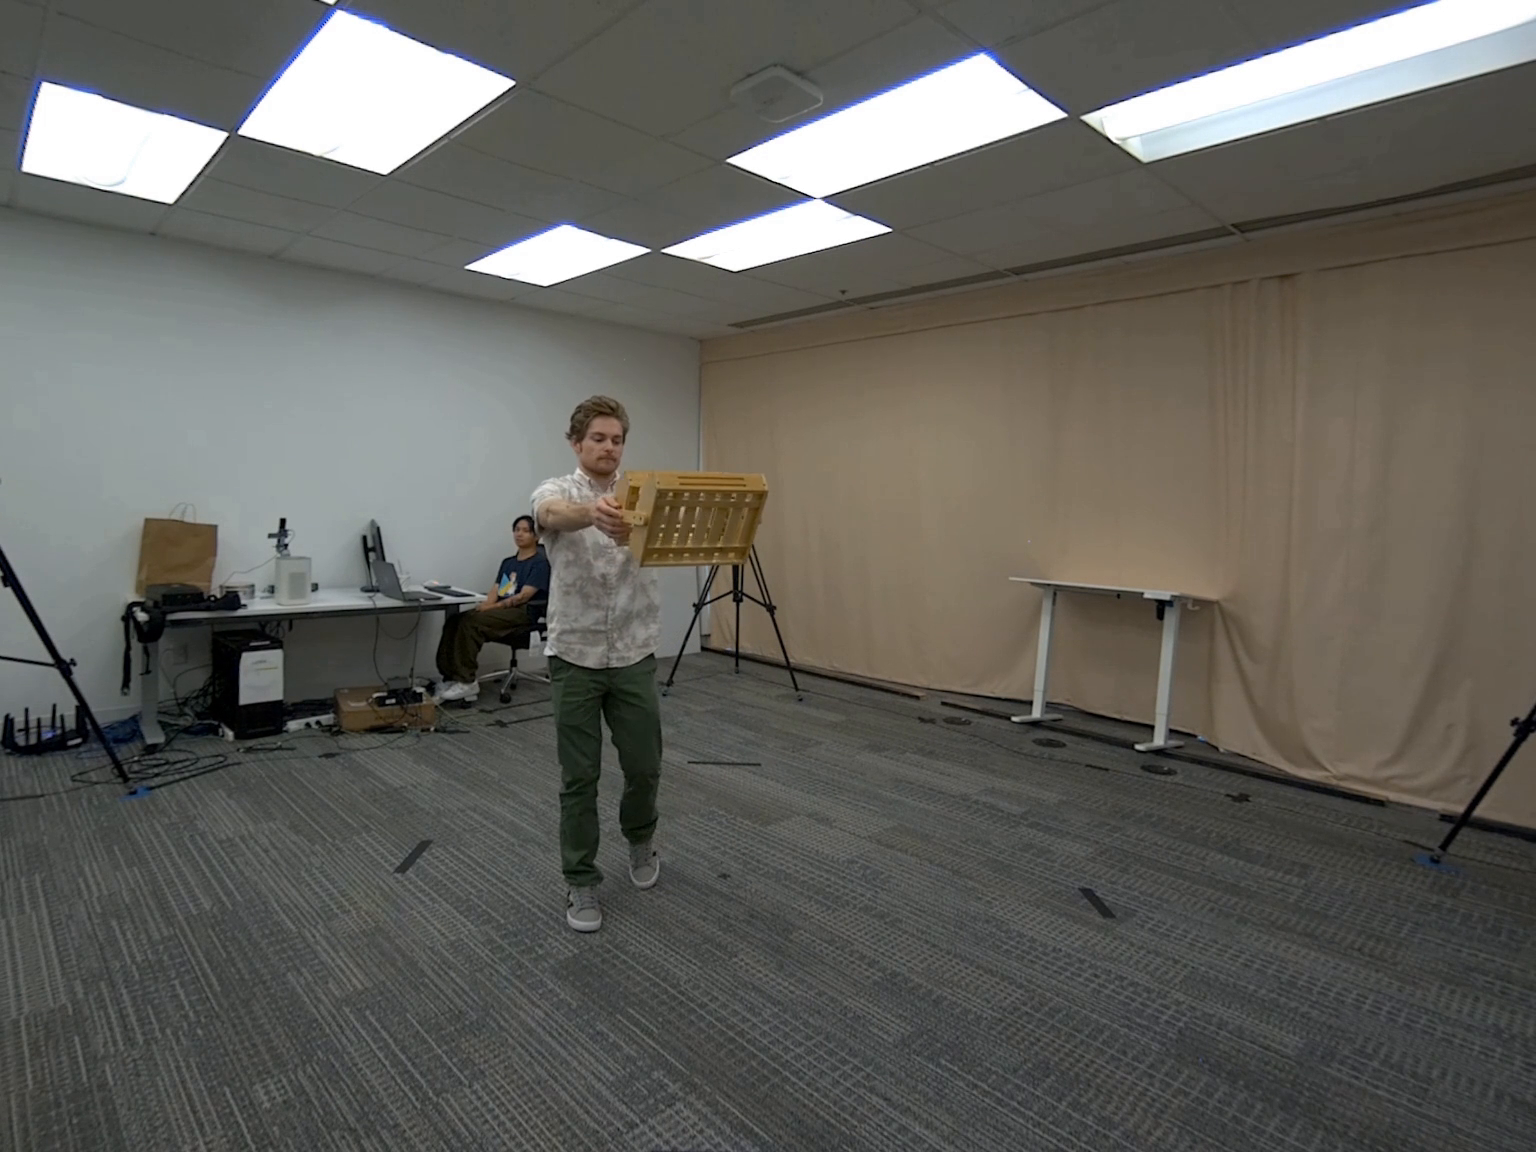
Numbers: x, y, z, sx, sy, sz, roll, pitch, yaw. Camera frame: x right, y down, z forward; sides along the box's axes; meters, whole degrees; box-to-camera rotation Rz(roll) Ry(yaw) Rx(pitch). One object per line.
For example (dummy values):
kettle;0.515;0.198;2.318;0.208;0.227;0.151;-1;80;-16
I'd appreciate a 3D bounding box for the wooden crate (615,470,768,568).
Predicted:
wooden crate;-0.220;-0.184;2.207;0.318;0.298;0.282;-1;36;-28
